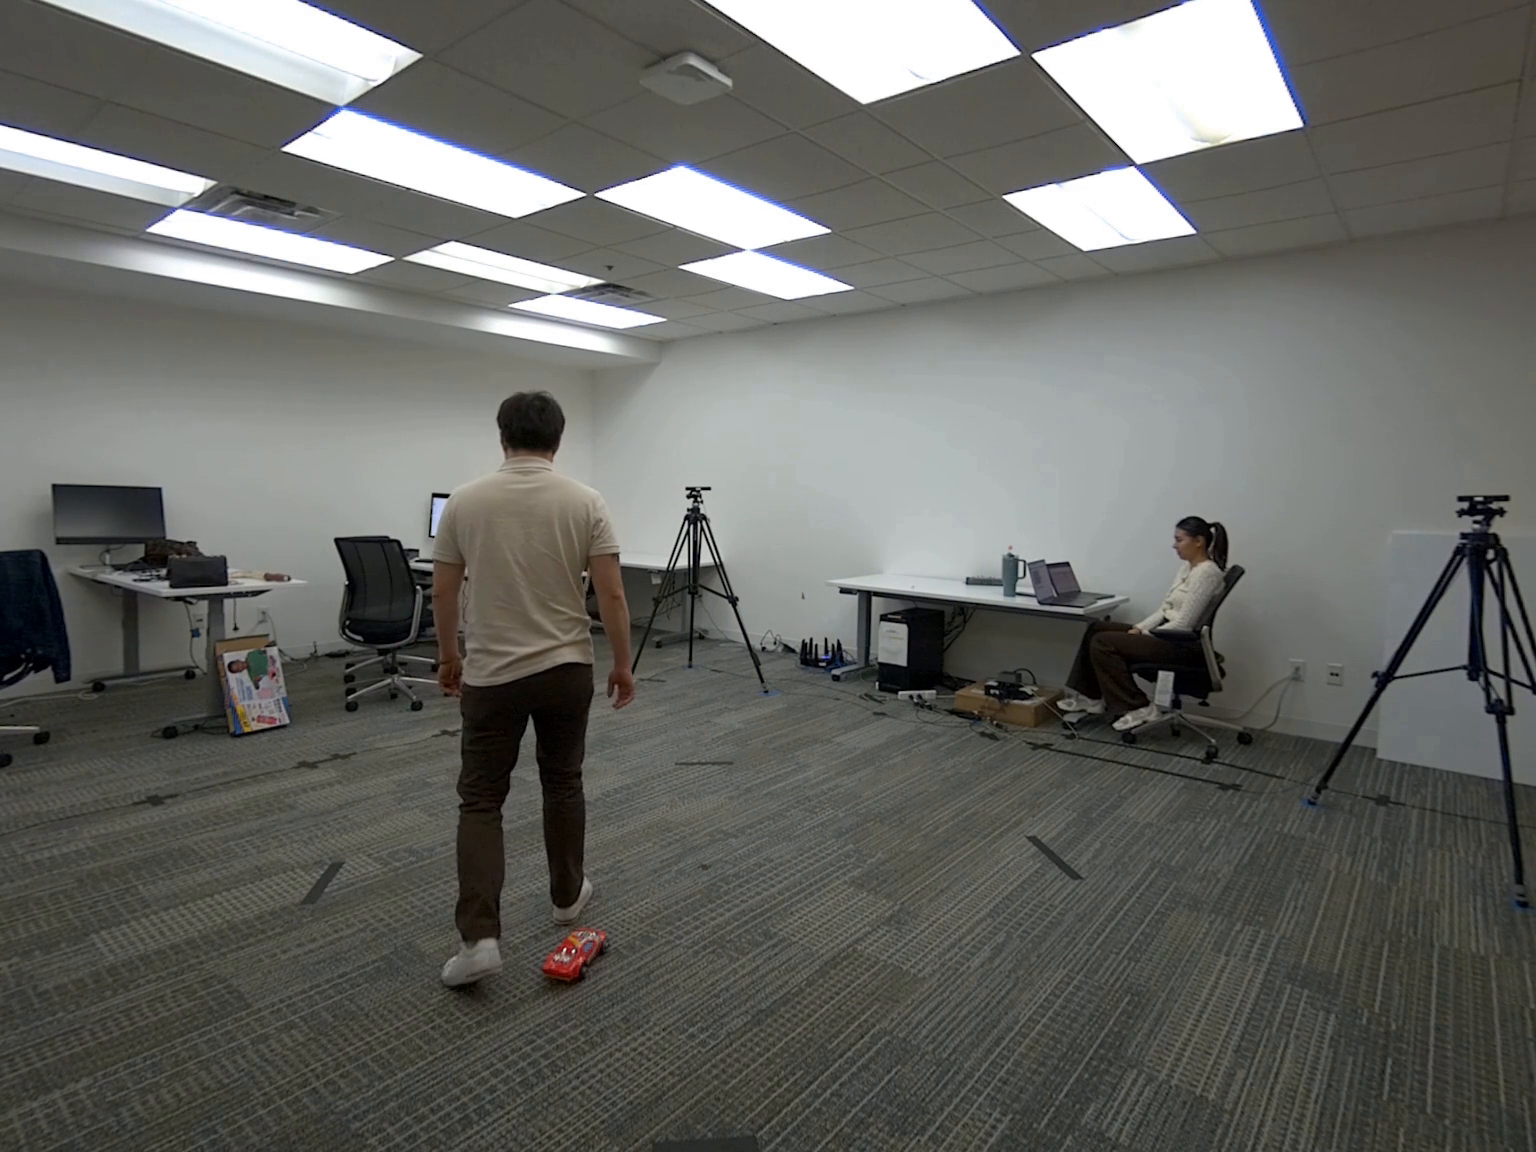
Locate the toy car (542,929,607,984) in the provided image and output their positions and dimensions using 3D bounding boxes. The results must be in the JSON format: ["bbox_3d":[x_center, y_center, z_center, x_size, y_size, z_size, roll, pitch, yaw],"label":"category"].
[{"bbox_3d":[-0.569,1.096,2.455,0.132,0.083,0.249,3,-5,14],"label":"toy car"}]
